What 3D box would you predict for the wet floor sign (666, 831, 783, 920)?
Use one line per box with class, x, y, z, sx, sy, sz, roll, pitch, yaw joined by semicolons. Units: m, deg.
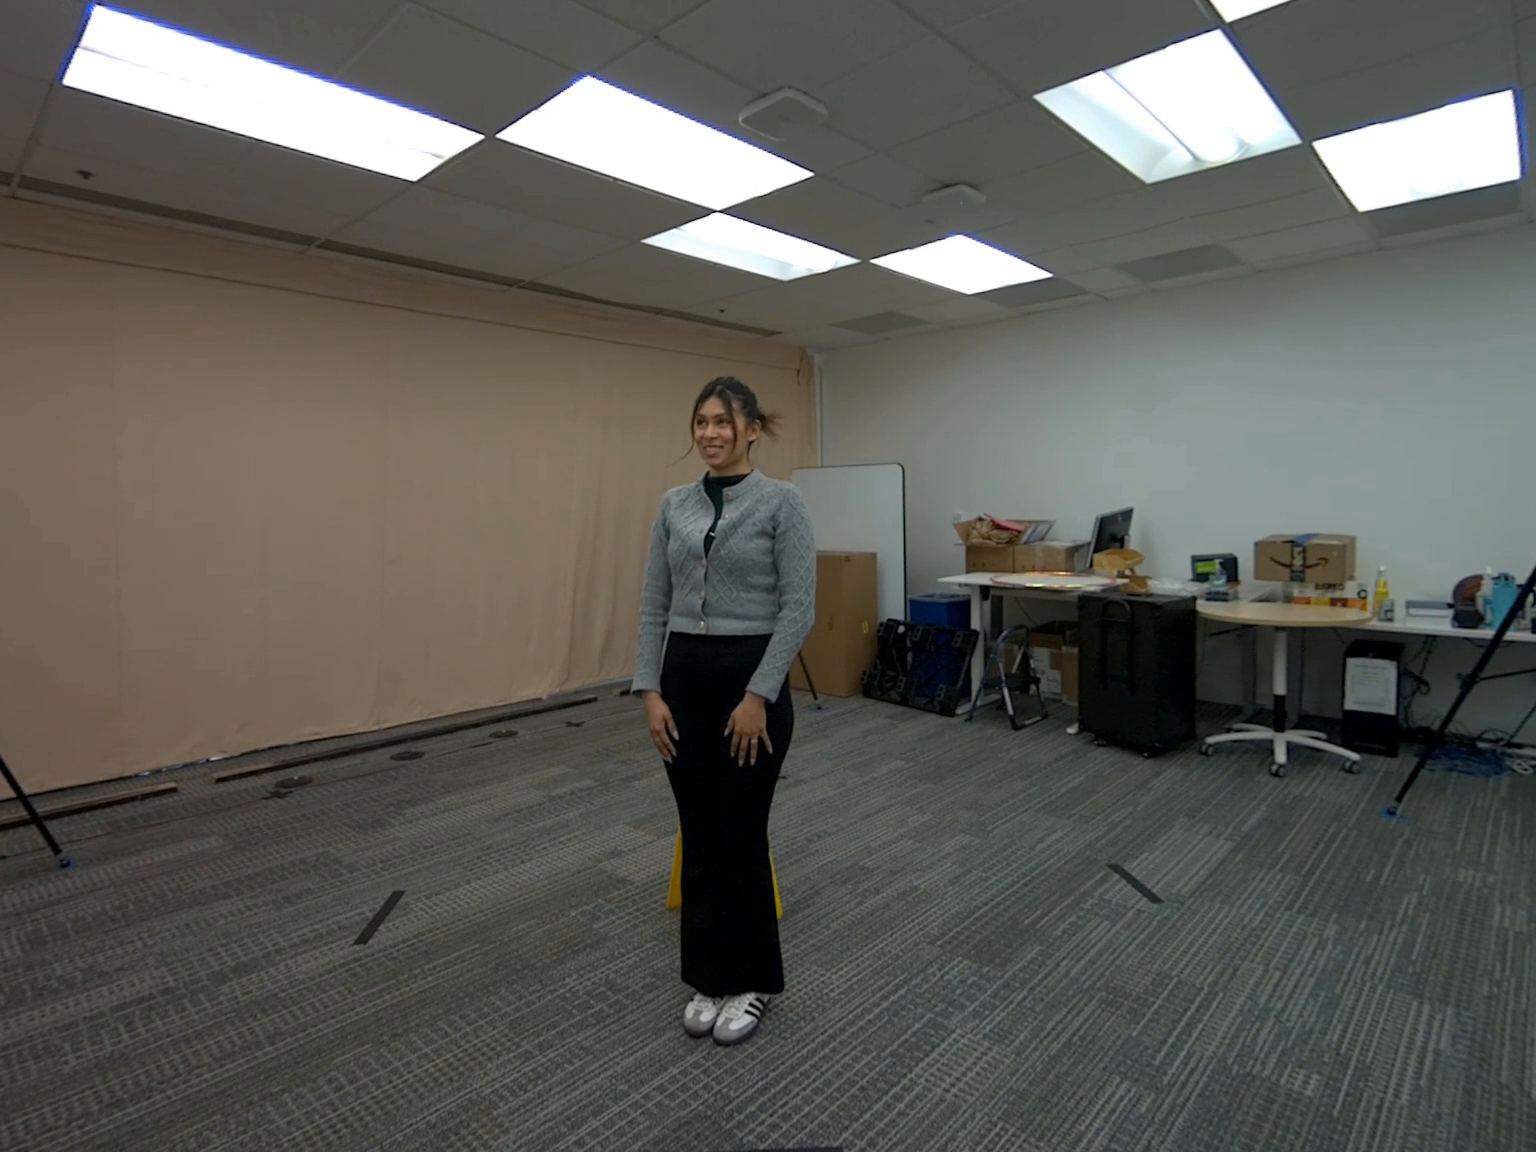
wet floor sign;-0.155;0.831;2.856;0.274;0.645;0.299;-3;3;-38
